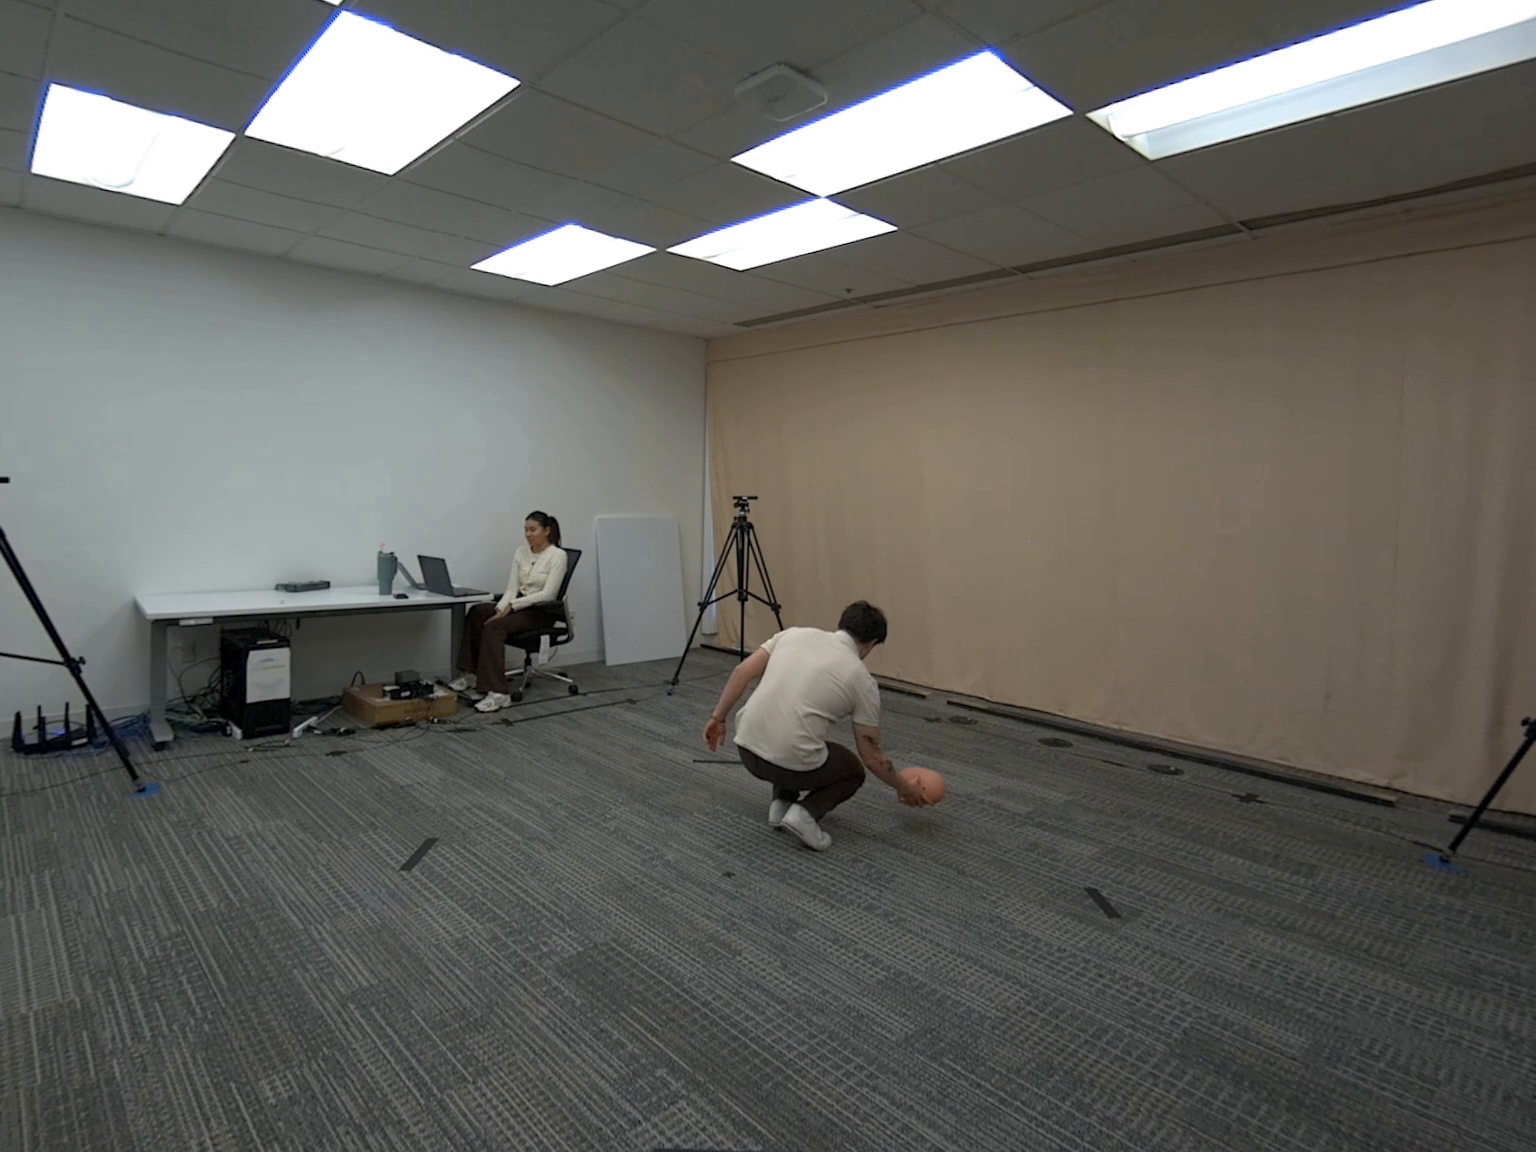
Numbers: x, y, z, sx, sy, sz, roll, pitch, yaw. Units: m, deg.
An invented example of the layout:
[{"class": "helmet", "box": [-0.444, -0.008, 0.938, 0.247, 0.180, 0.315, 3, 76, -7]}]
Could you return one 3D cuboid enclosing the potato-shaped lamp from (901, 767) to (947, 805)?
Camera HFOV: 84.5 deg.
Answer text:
[{"class": "potato-shaped lamp", "box": [0.646, 0.909, 3.633, 0.202, 0.164, 0.168, -3, 6, 45]}]
